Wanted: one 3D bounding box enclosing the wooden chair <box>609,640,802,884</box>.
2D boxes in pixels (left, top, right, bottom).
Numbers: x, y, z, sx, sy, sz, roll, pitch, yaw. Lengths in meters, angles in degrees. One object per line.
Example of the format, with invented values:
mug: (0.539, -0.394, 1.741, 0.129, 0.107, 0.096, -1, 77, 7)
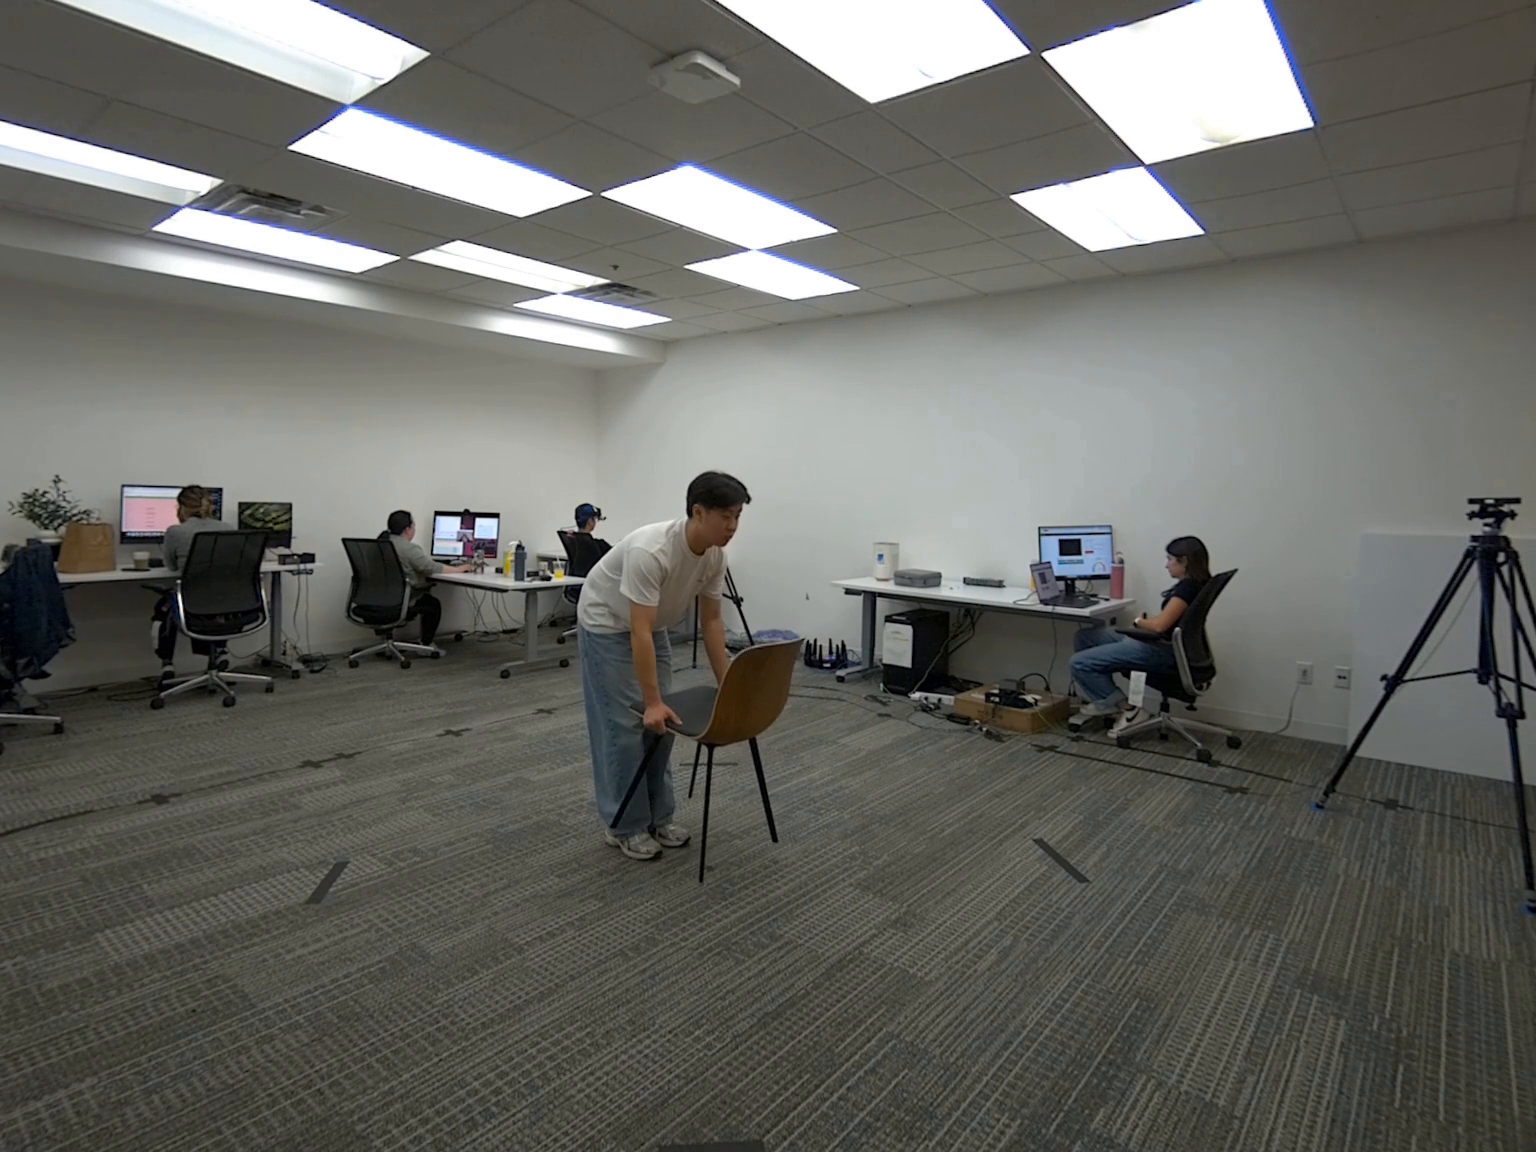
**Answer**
wooden chair: (-0.224, 0.553, 3.130, 0.543, 0.870, 0.464, 18, 14, 36)
